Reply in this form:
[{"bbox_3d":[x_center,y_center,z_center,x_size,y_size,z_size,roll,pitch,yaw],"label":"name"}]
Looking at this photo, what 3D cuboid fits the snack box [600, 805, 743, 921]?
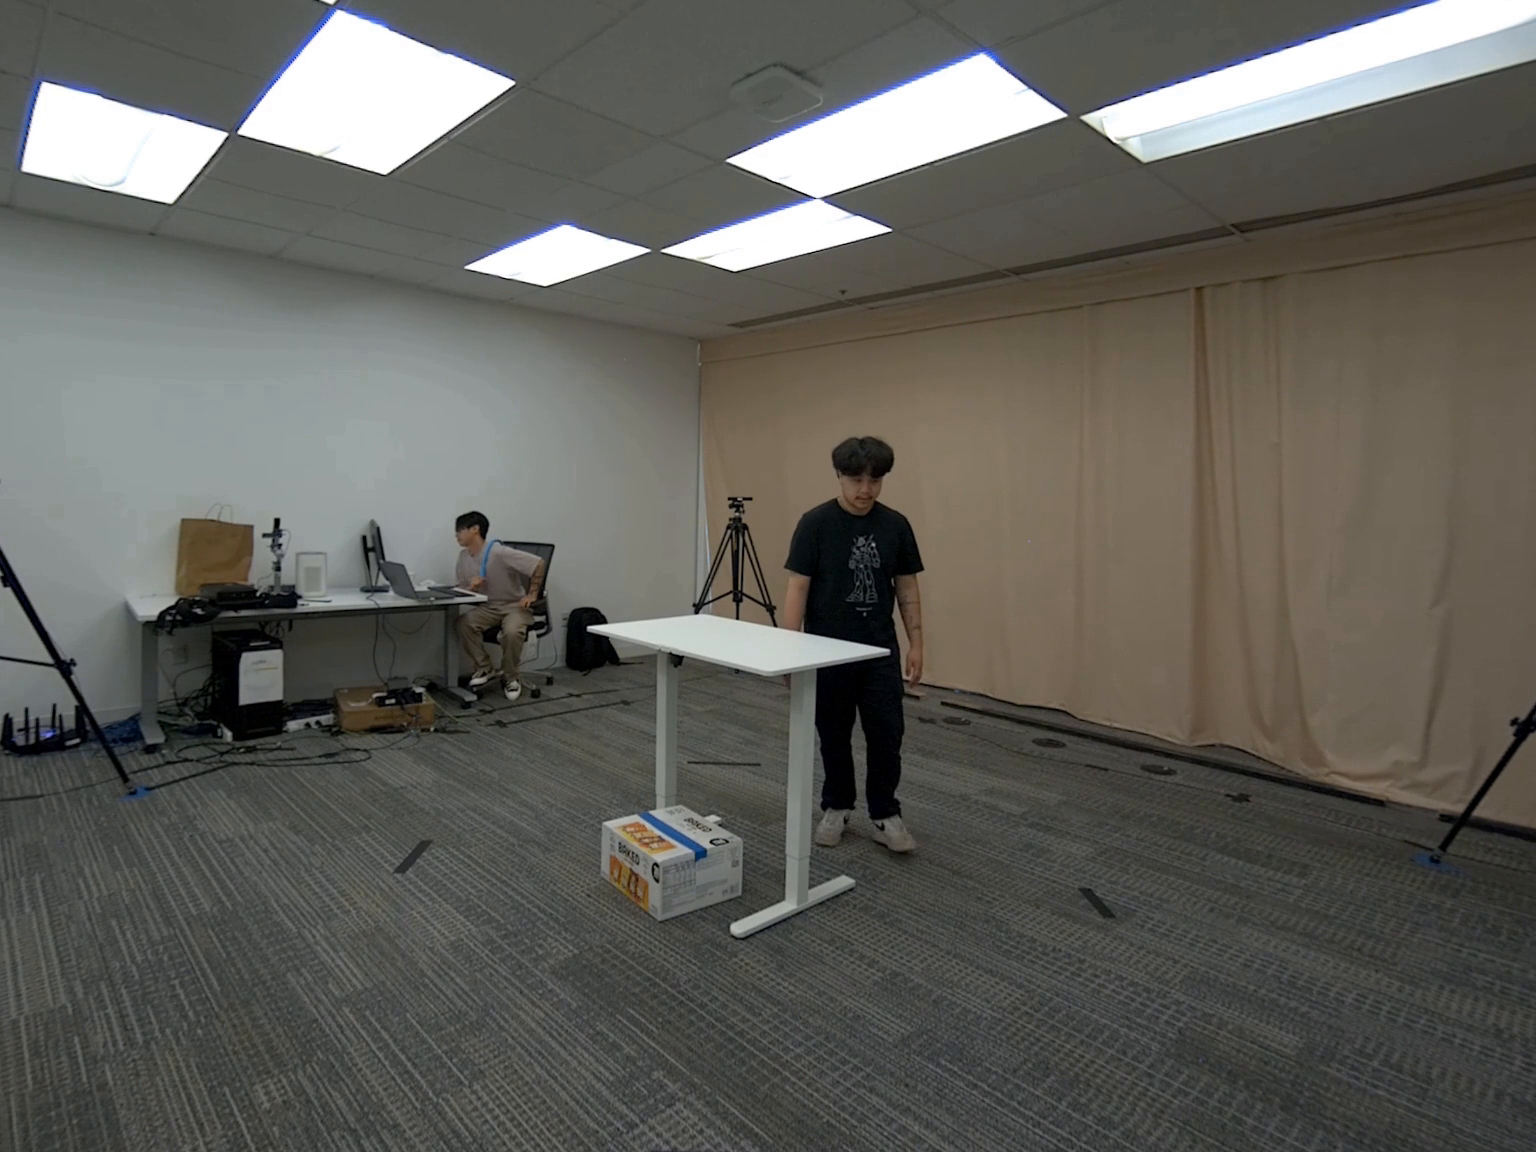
[{"bbox_3d":[-0.354,1.013,3.002,0.333,0.205,0.415,-2,6,-38],"label":"snack box"}]
